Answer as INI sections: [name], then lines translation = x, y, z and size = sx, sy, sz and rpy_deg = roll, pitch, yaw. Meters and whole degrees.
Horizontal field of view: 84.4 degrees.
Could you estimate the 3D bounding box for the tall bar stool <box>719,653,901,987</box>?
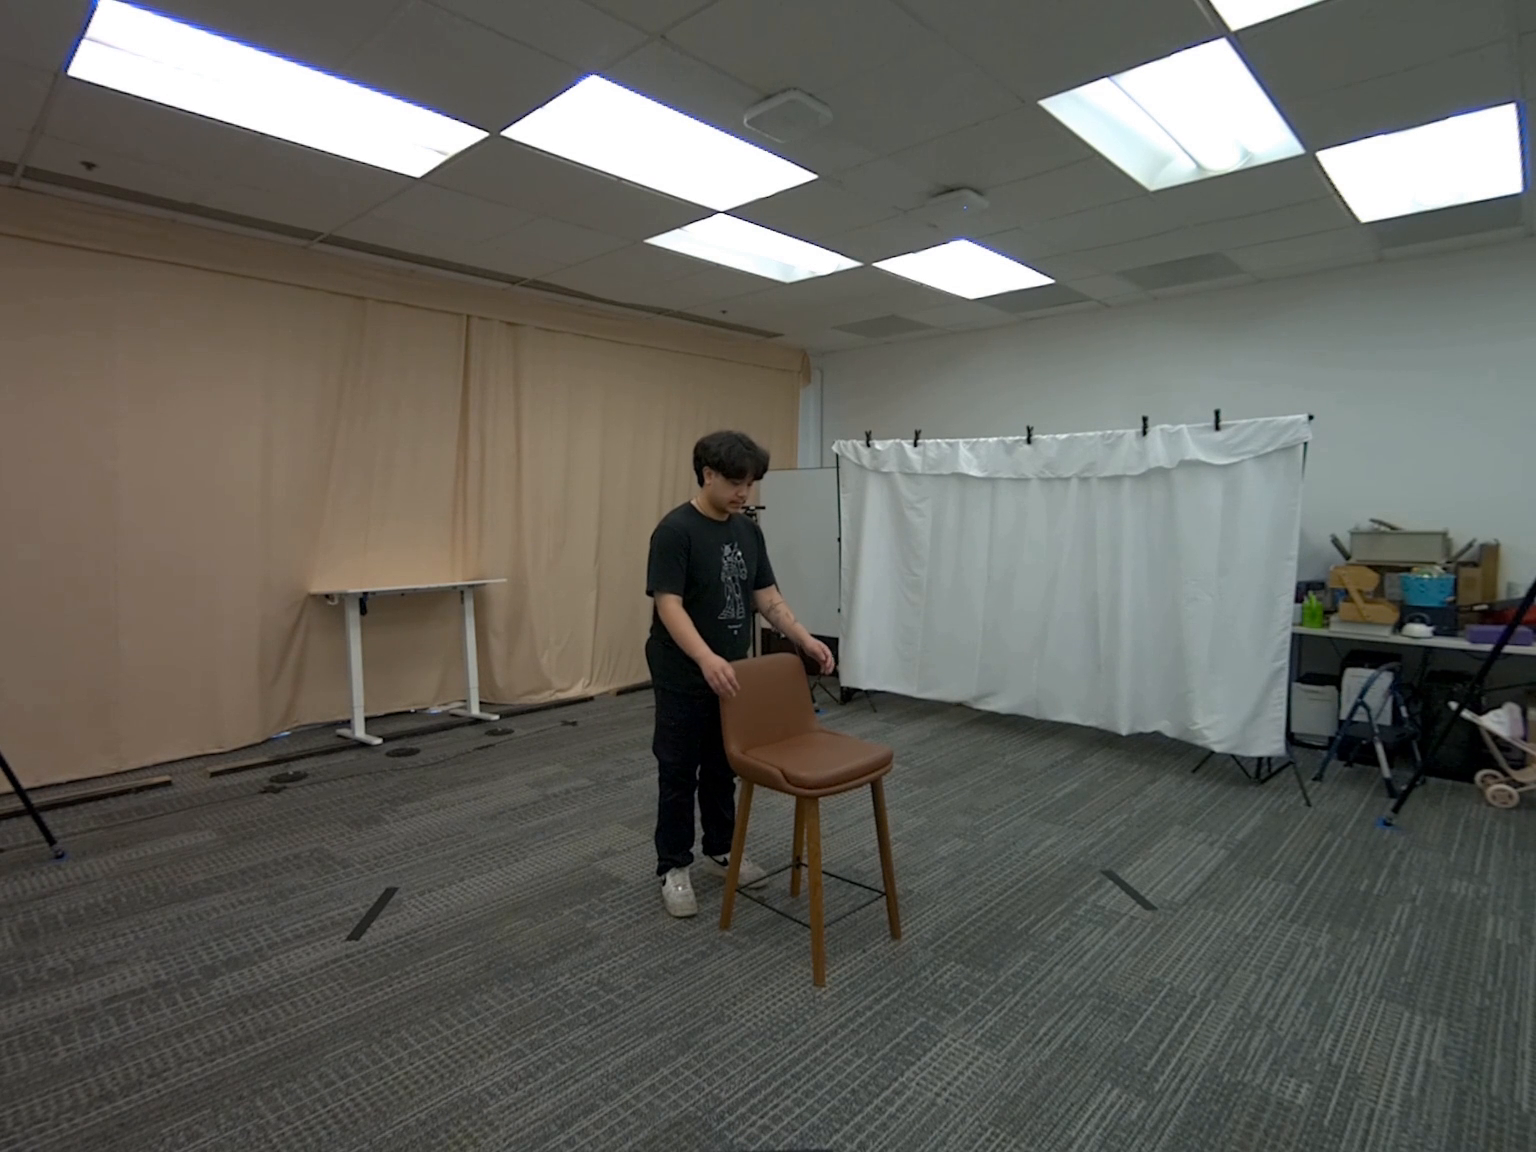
[tall bar stool]
translation = 0.128, 0.730, 2.719
size = 0.442, 0.889, 0.483
rpy_deg = -3, 2, -44
